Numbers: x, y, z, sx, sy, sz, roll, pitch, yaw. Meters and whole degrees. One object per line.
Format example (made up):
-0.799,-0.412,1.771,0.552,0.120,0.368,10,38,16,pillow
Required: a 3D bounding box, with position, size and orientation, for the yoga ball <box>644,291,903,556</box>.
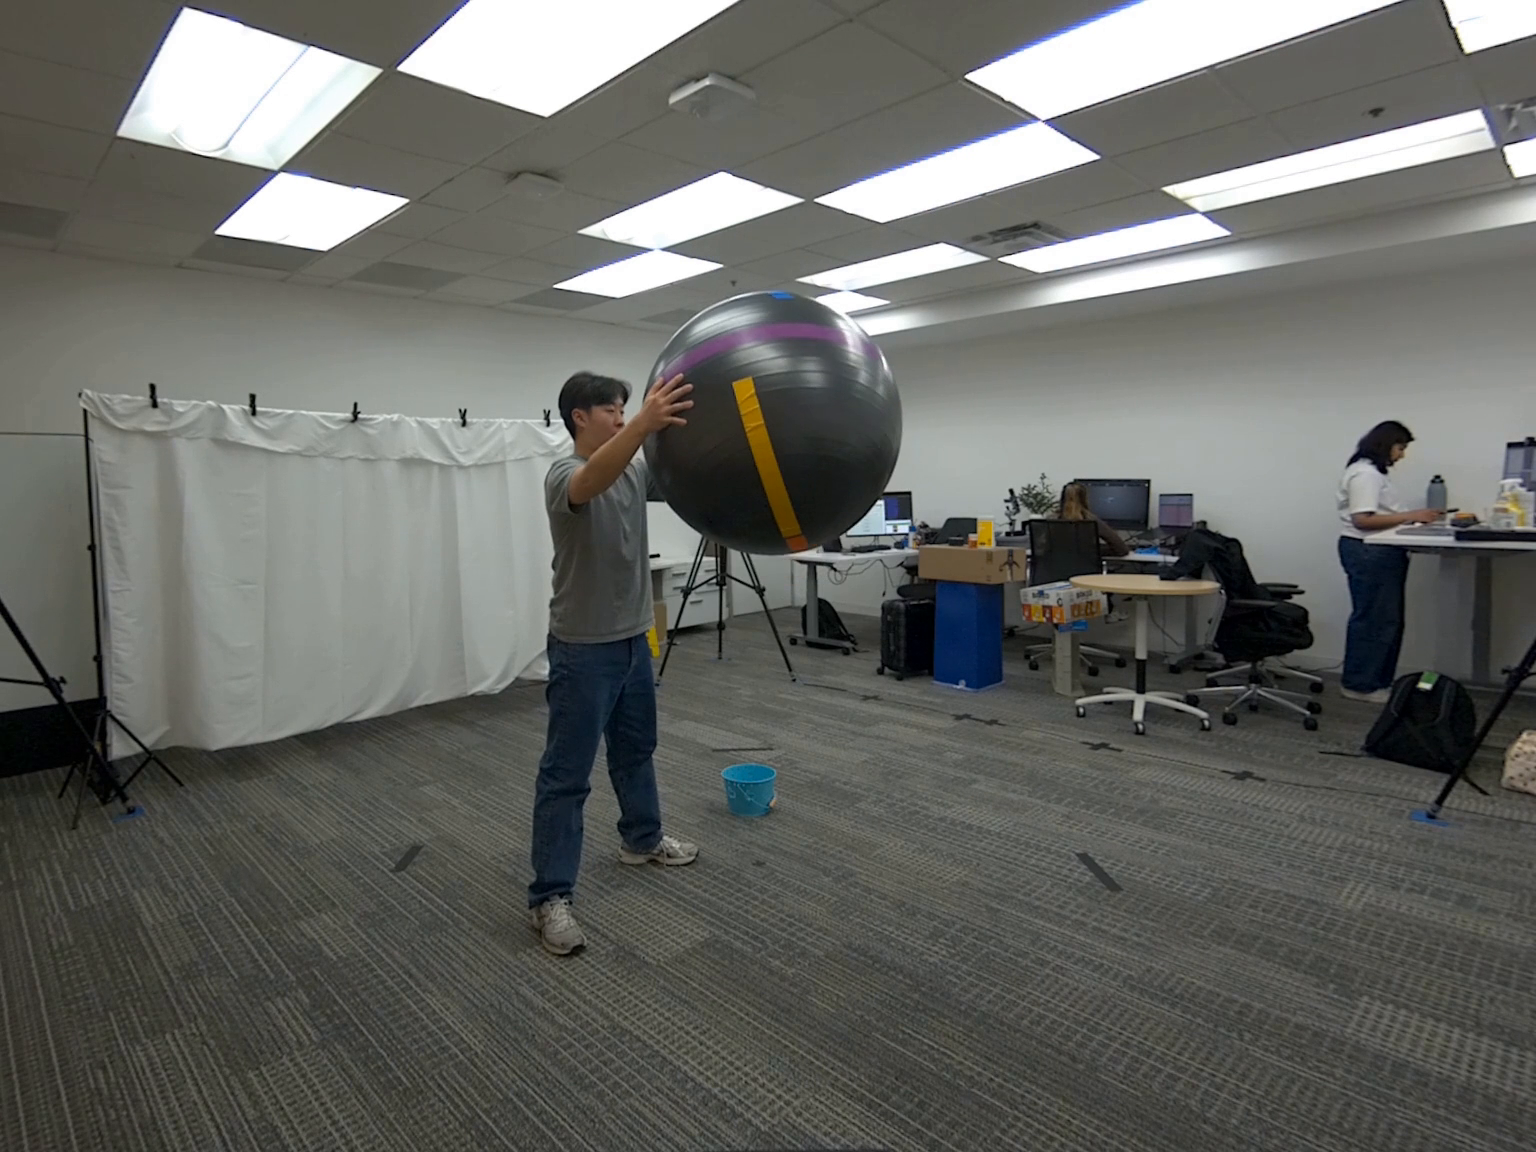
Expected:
0.013,-0.422,2.486,0.757,0.755,0.762,-1,5,-2,yoga ball
